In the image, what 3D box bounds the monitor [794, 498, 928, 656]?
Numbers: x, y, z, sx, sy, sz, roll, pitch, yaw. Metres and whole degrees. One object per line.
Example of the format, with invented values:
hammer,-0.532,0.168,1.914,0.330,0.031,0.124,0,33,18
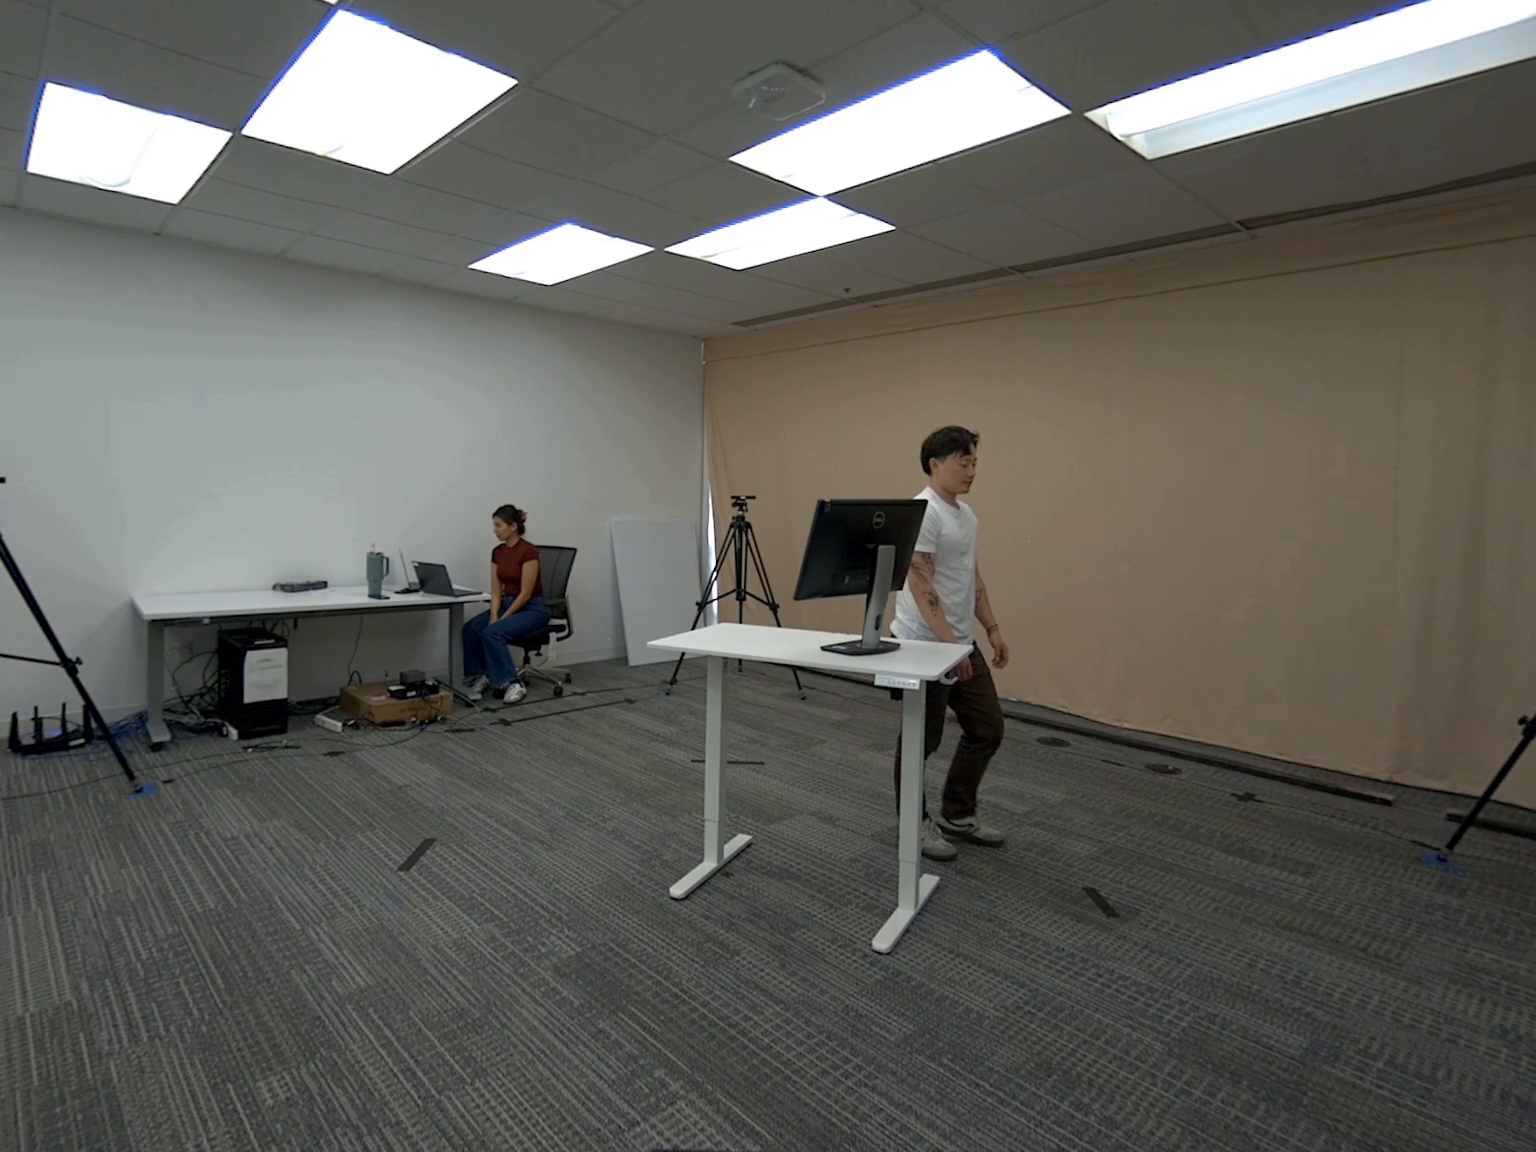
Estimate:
monitor,0.337,0.000,2.860,0.527,0.520,0.192,-4,10,-42
